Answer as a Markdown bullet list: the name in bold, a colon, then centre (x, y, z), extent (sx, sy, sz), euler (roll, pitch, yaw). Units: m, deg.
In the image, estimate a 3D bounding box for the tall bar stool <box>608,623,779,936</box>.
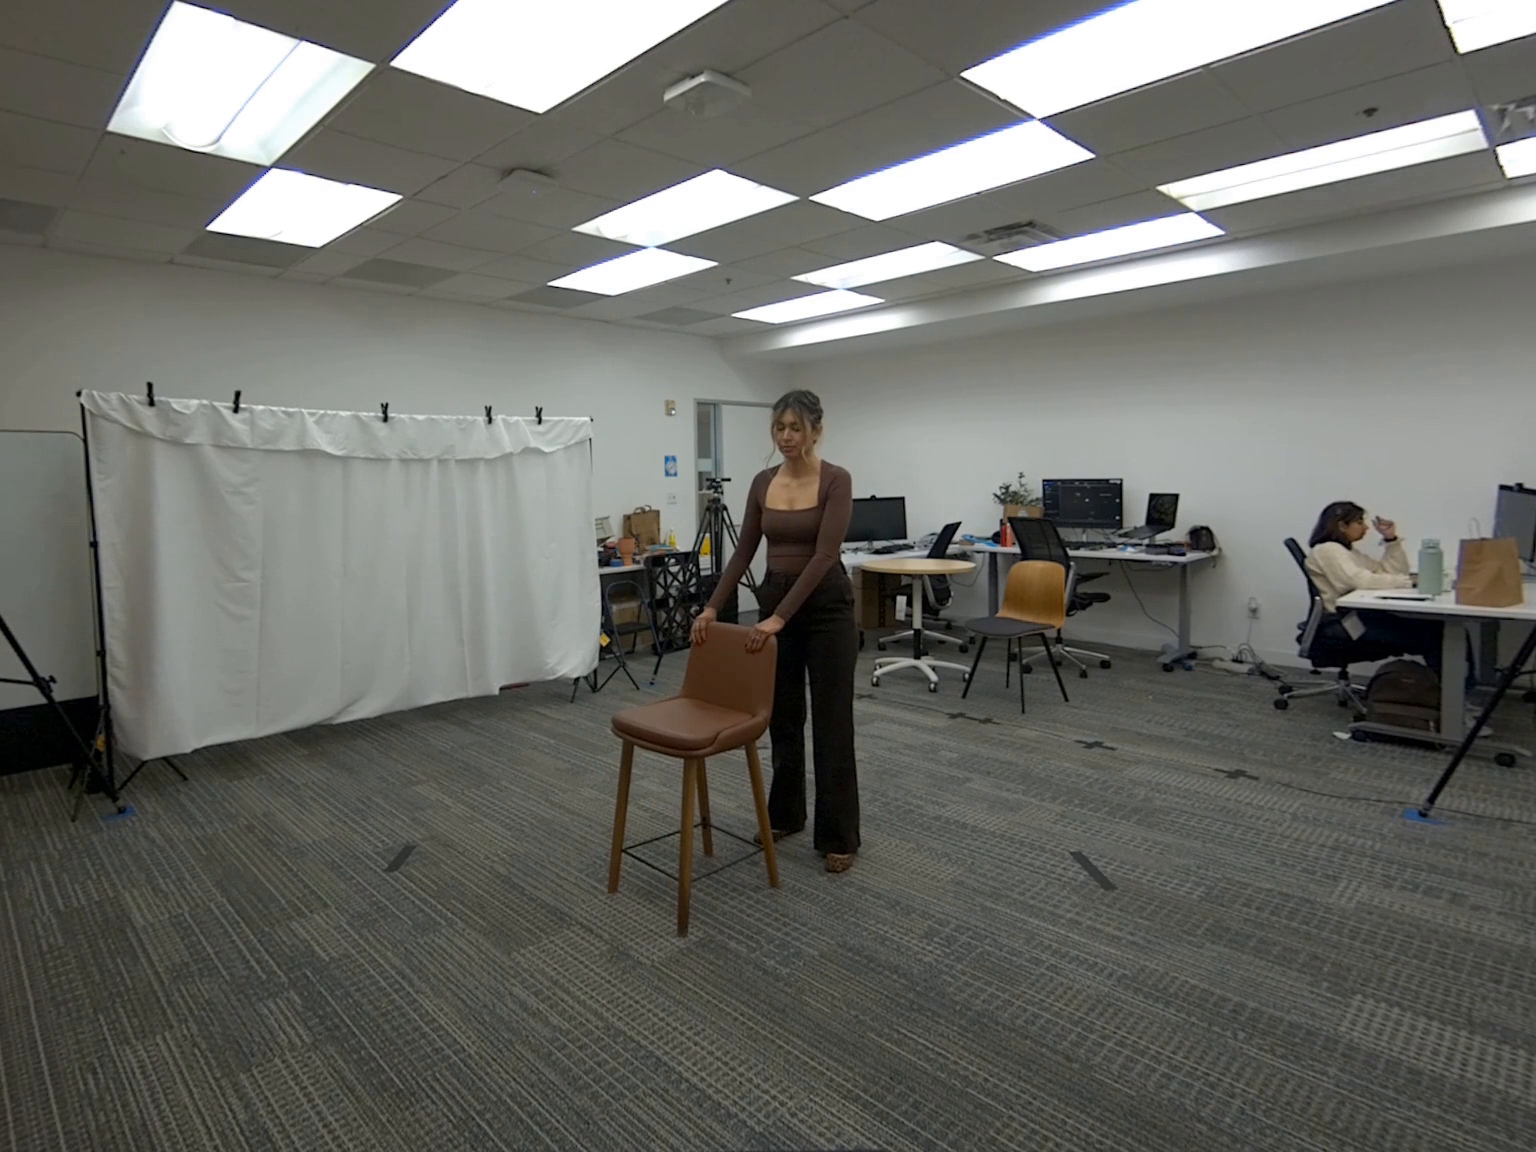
- **tall bar stool**: centre (-0.244, 0.635, 2.883), extent (0.454, 0.888, 0.470), euler (-2, 4, -43)
